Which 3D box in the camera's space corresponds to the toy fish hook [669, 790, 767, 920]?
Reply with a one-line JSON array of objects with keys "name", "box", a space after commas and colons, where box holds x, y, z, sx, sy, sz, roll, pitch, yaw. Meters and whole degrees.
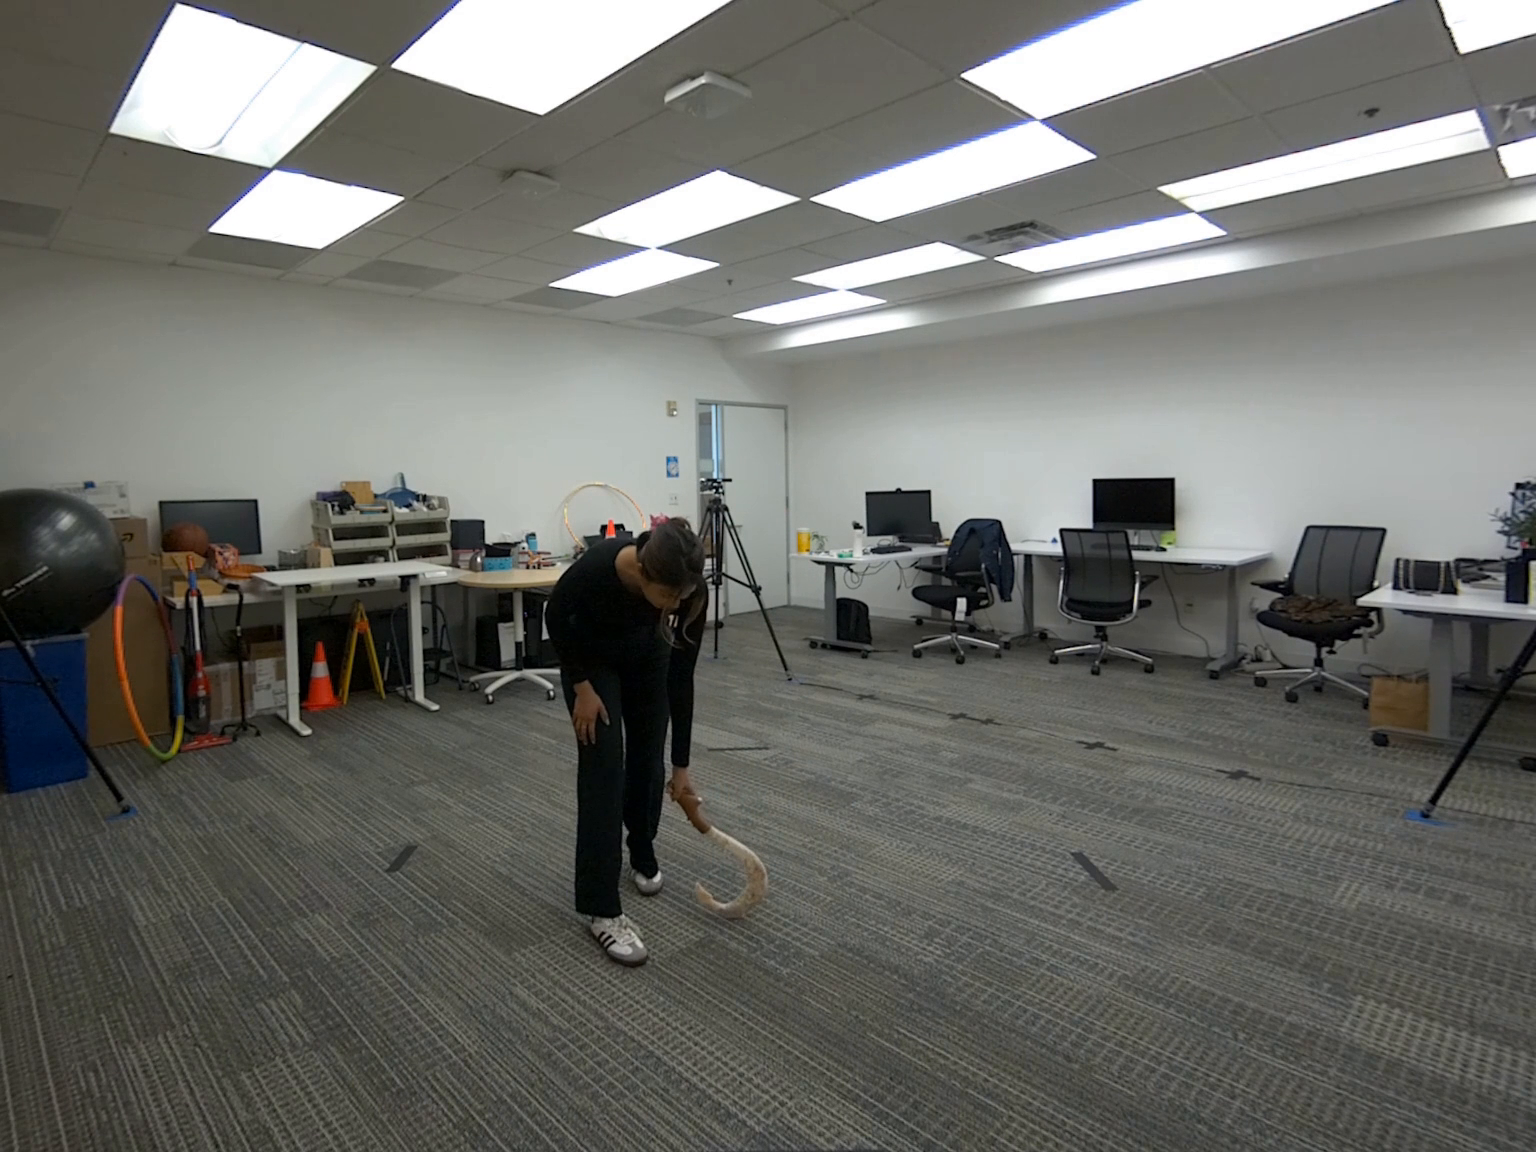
[{"name": "toy fish hook", "box": [-0.191, 0.858, 2.691, 0.224, 0.500, 0.049, -38, 9, -16]}]
